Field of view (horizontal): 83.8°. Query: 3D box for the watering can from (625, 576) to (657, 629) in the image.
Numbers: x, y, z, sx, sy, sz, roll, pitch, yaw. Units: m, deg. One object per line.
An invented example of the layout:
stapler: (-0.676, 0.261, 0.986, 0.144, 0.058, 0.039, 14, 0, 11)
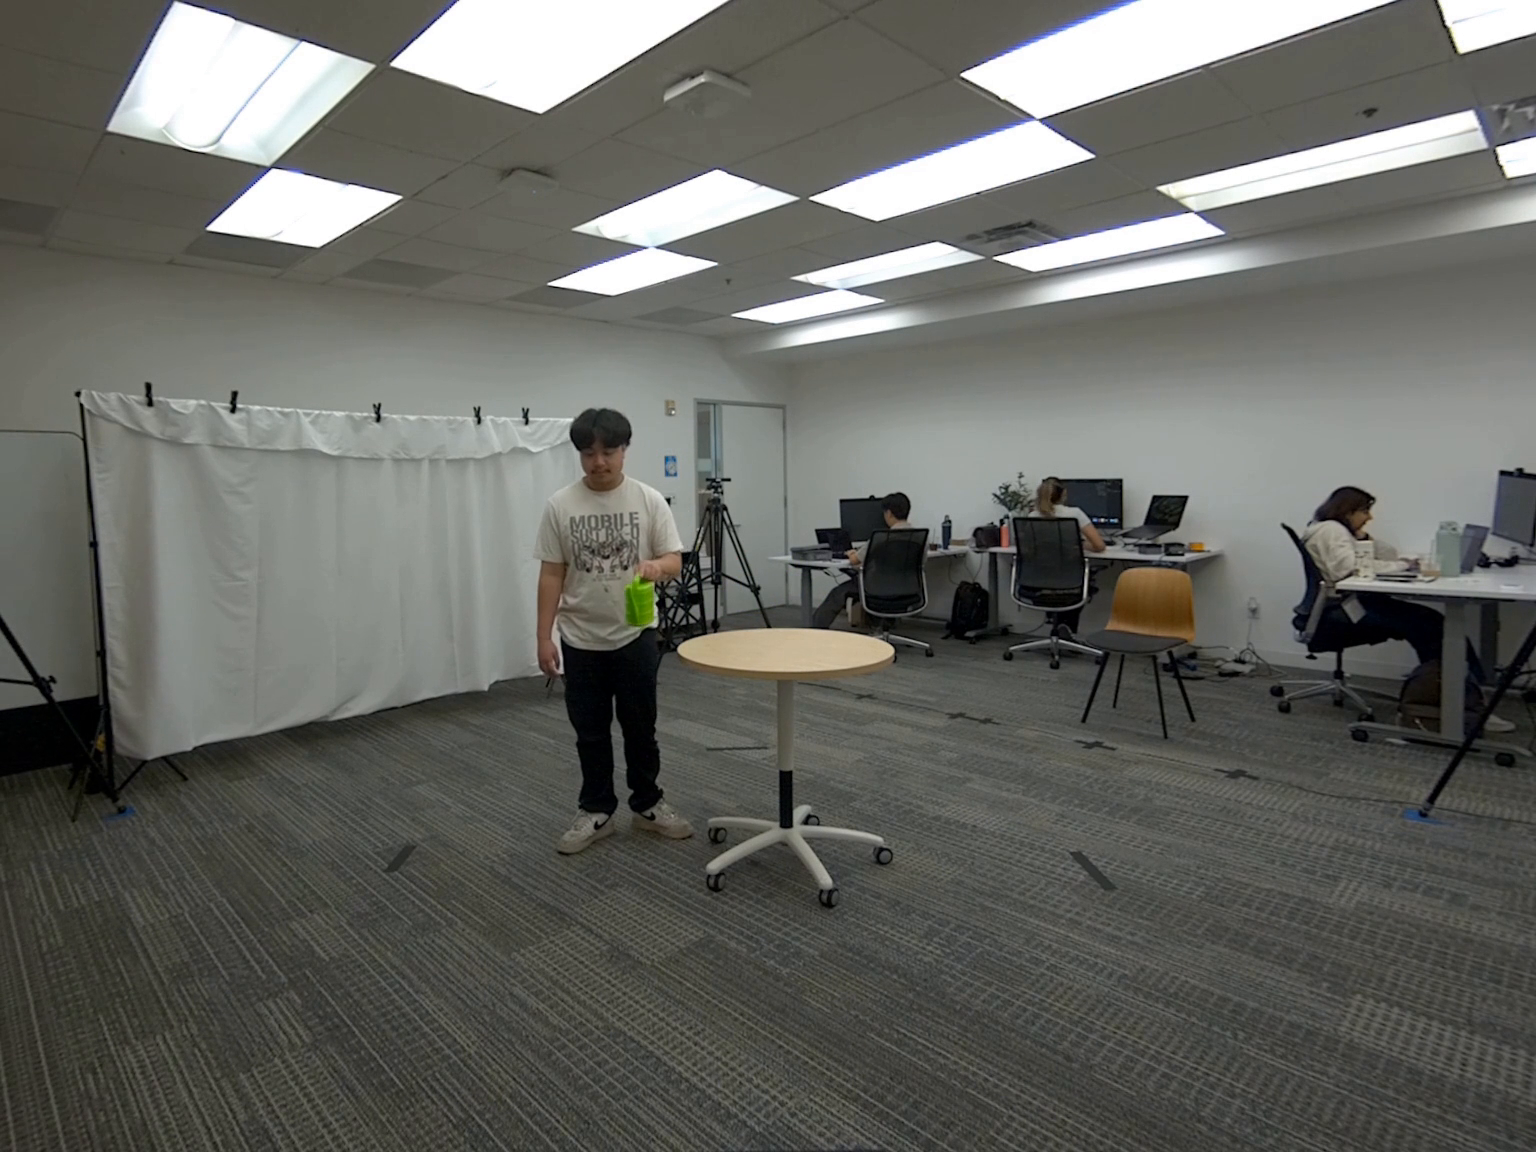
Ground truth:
watering can: (-0.444, 0.083, 2.900, 0.100, 0.175, 0.276, 5, 12, 16)
